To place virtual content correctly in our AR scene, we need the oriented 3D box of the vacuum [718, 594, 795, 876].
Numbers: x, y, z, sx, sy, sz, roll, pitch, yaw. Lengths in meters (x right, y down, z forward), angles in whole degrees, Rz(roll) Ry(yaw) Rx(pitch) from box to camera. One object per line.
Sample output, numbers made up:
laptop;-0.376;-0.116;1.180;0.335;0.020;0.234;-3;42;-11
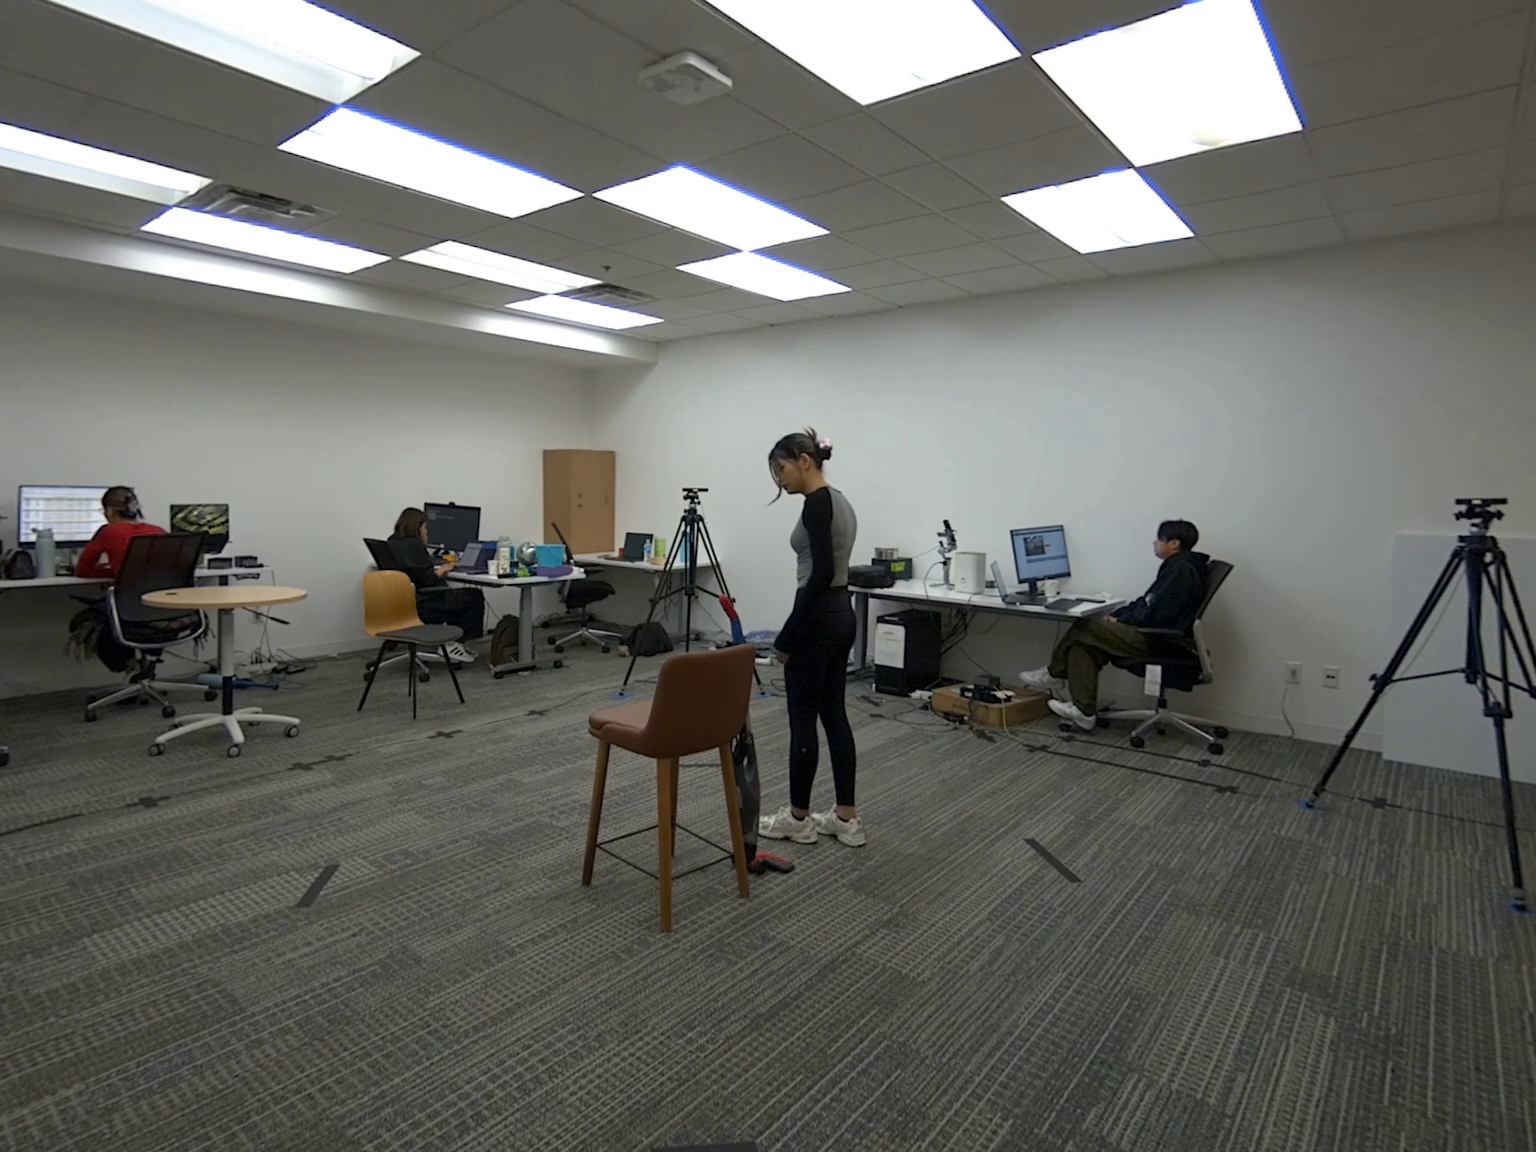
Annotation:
vacuum;-0.109;0.567;3.034;0.141;1.035;0.261;-17;16;-39
